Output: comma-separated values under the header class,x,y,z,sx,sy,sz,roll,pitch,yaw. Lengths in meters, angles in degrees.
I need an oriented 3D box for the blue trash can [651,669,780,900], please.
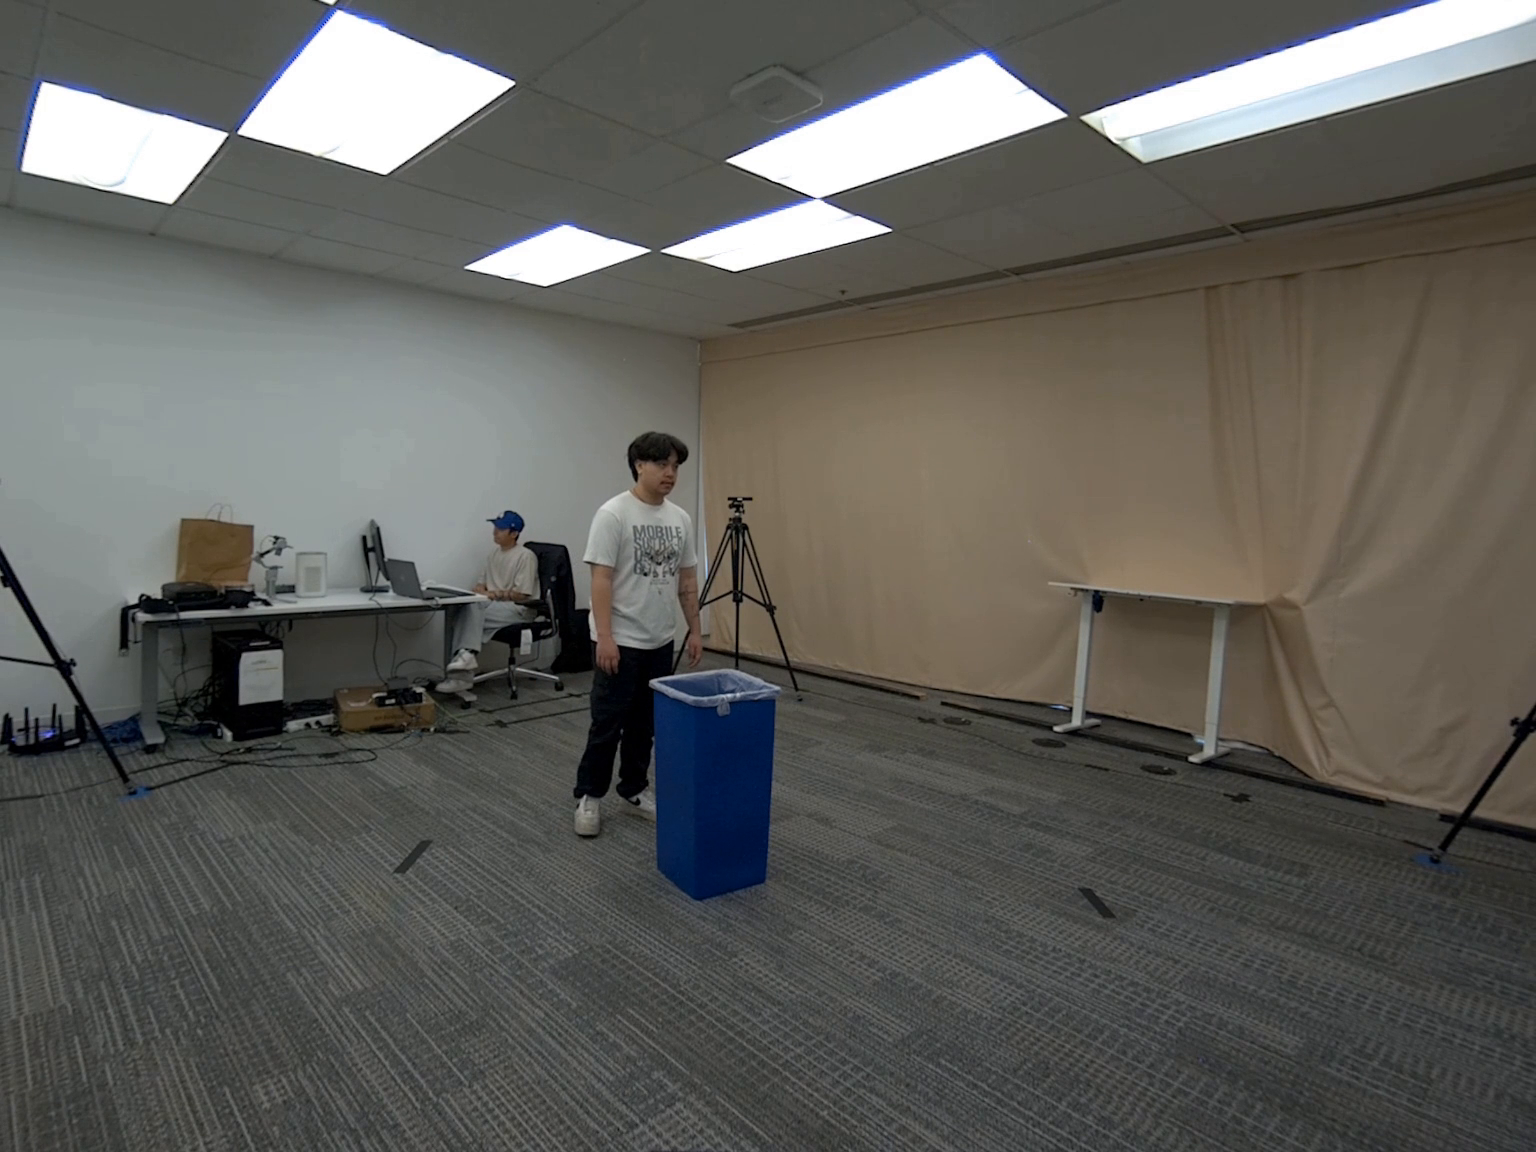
class,x,y,z,sx,sy,sz,roll,pitch,yaw
blue trash can,-0.216,0.749,3.095,0.370,0.712,0.383,-1,4,-34
